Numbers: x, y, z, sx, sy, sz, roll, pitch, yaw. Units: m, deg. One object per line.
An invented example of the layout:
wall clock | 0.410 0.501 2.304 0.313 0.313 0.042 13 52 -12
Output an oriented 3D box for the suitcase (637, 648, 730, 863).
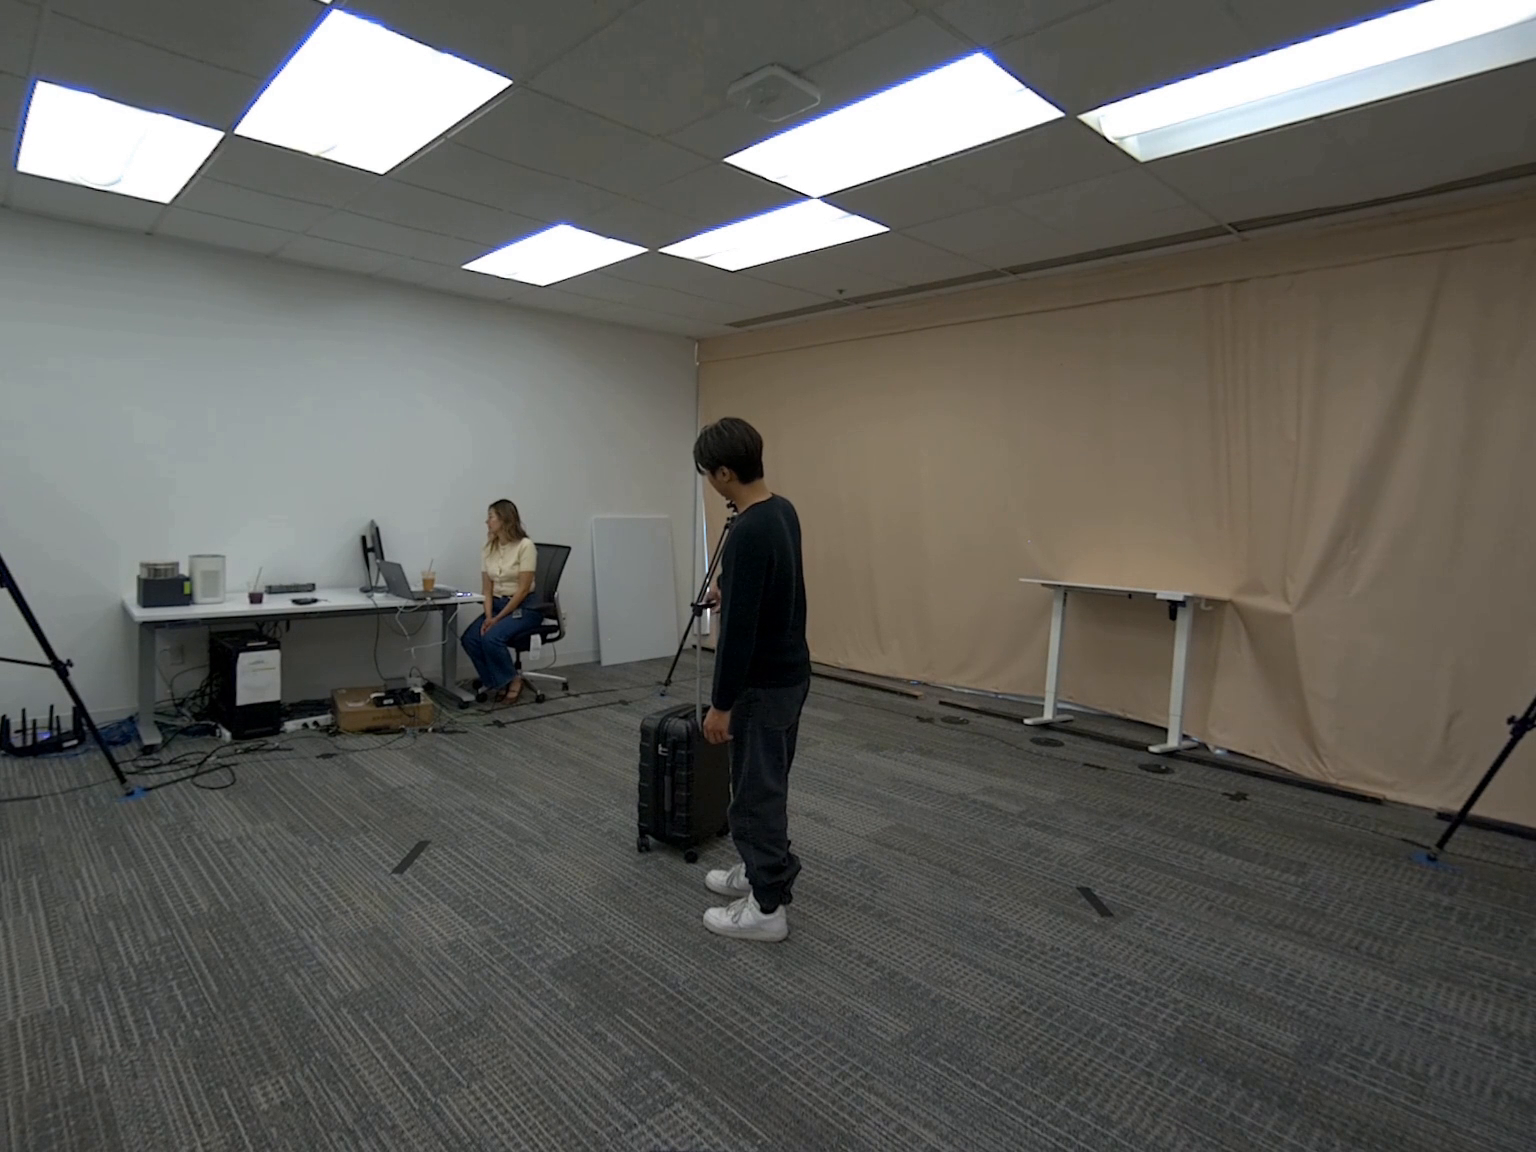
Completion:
suitcase | -0.347 0.601 3.382 0.262 0.977 0.377 0 2 28
